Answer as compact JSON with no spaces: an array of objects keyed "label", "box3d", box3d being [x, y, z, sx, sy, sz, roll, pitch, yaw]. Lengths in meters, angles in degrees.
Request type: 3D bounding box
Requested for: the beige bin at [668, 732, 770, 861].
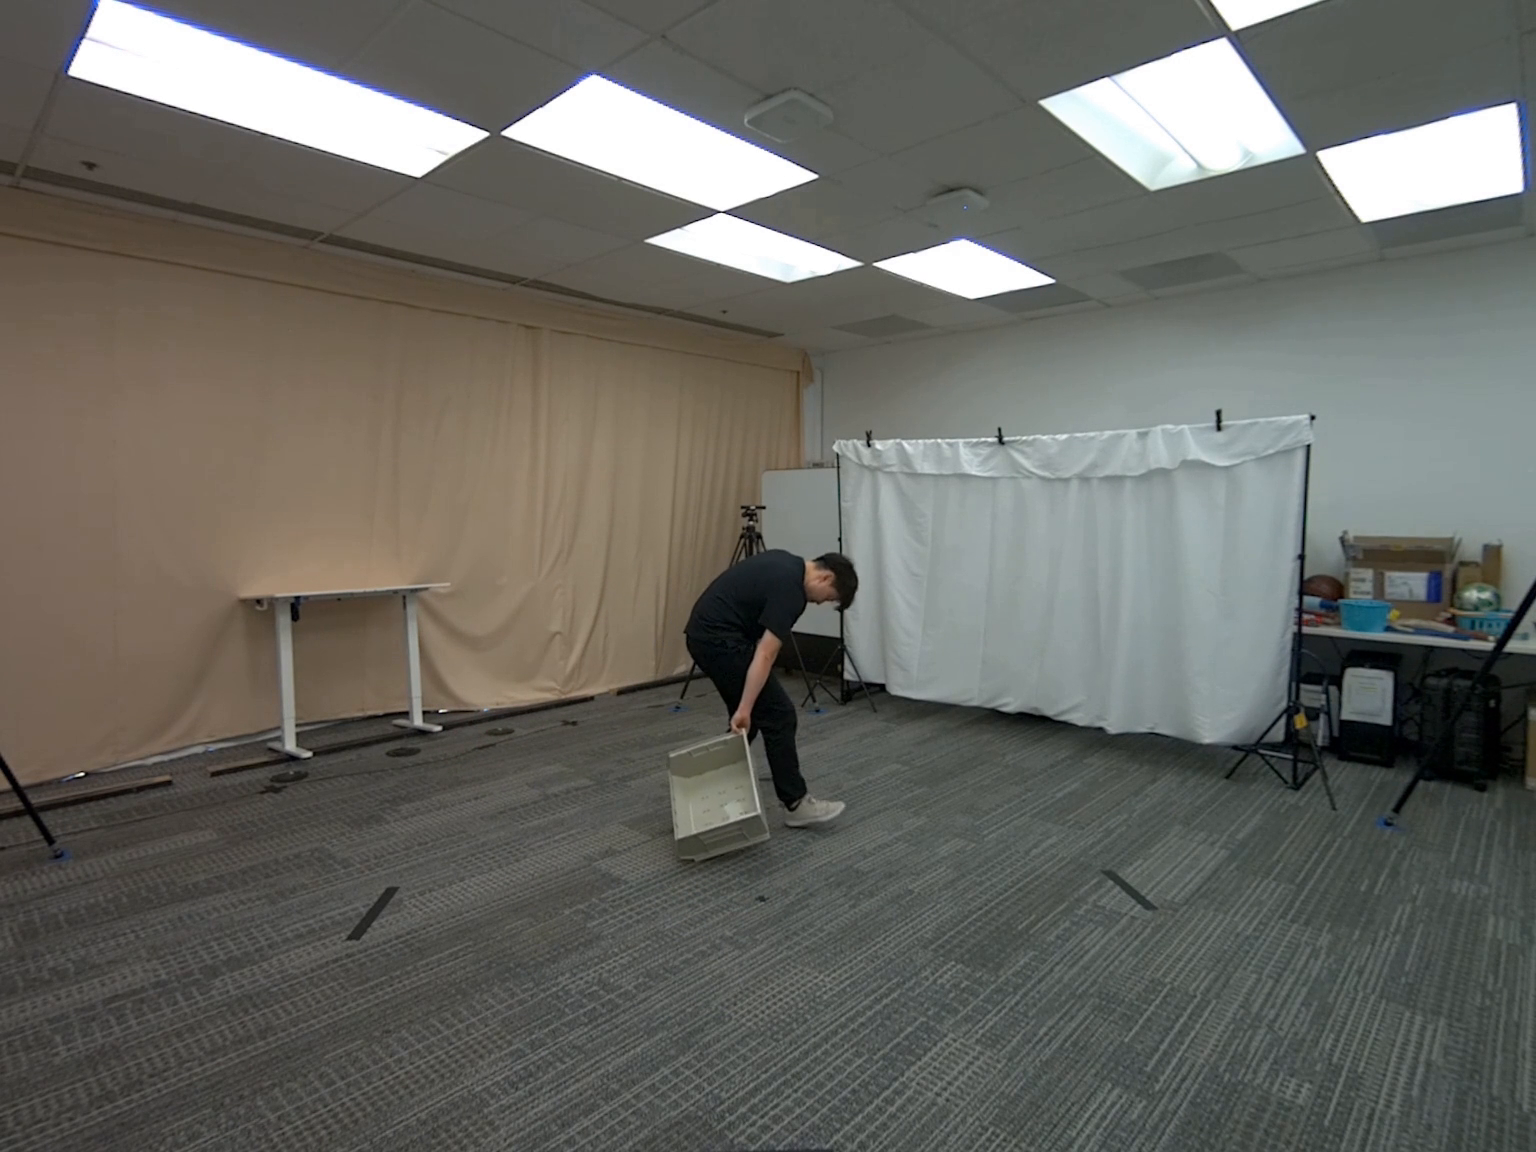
[{"label":"beige bin","box3d":[-0.211,0.886,3.396,0.379,0.184,0.432,-18,38,5]}]
